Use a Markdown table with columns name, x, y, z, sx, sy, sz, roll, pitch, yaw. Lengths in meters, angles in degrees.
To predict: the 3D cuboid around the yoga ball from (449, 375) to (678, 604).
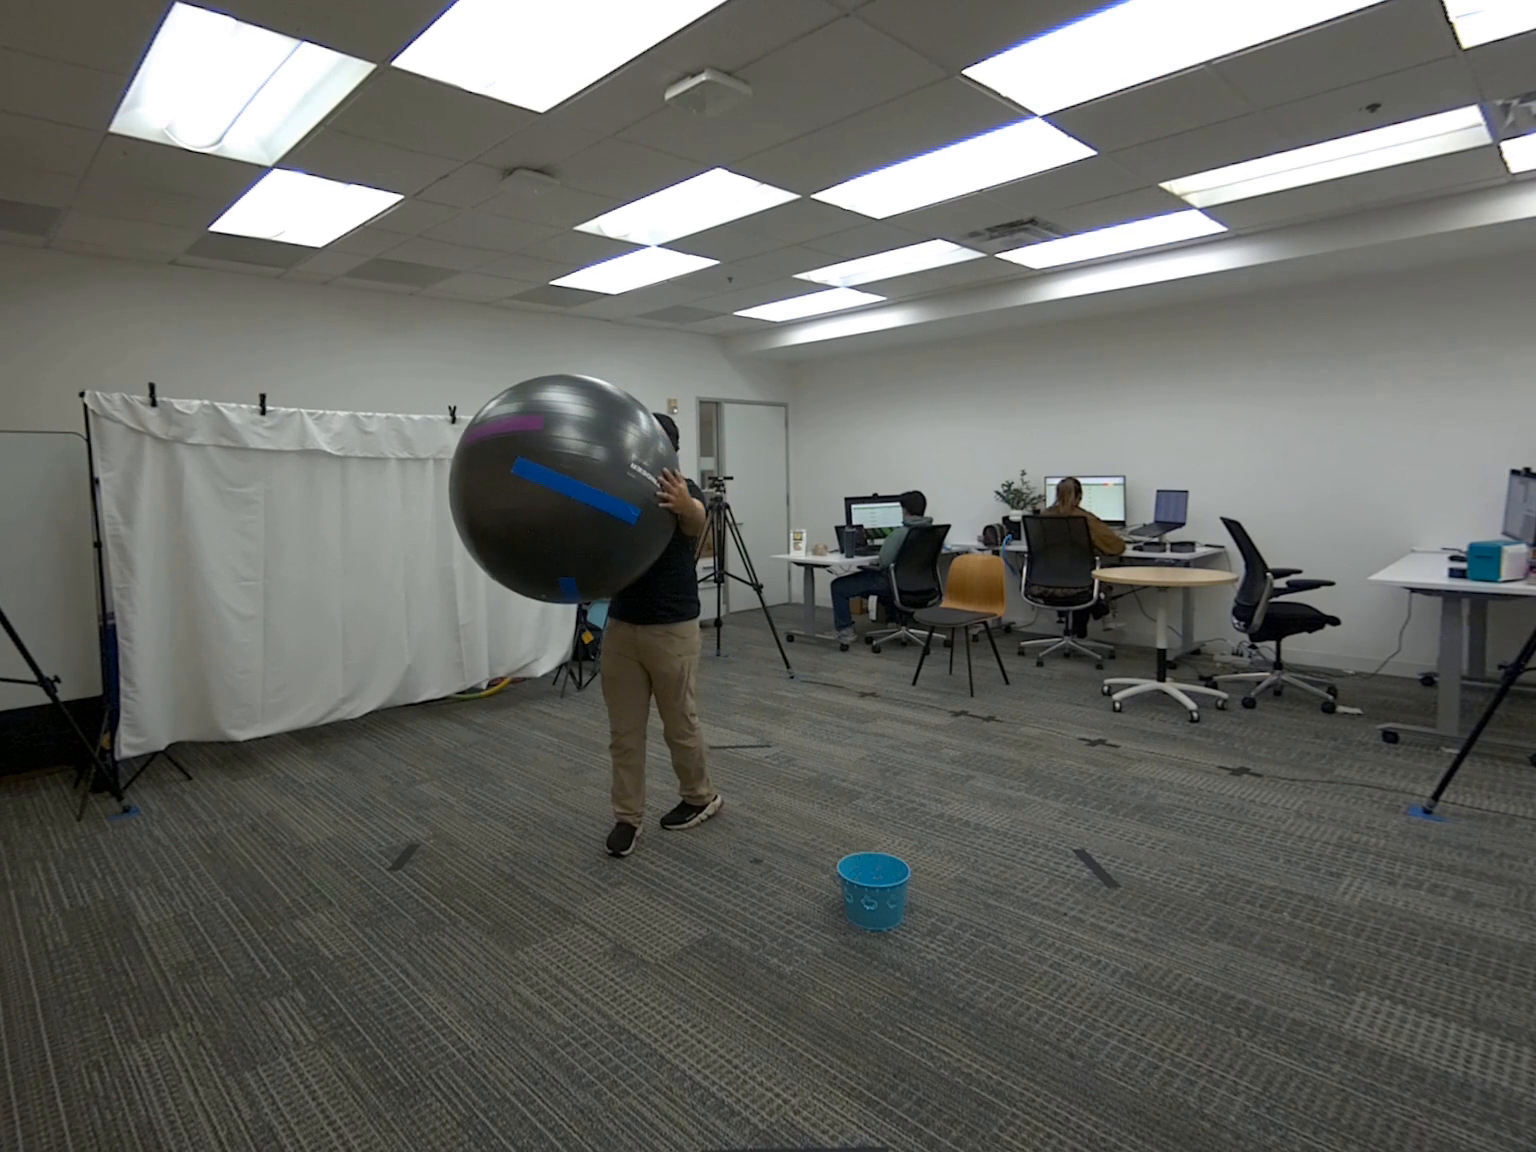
| name | x | y | z | sx | sy | sz | roll | pitch | yaw |
| --- | --- | --- | --- | --- | --- | --- | --- | --- | --- |
| yoga ball | -0.676 | -0.283 | 2.849 | 0.757 | 0.755 | 0.762 | -1 | 5 | -2 |
